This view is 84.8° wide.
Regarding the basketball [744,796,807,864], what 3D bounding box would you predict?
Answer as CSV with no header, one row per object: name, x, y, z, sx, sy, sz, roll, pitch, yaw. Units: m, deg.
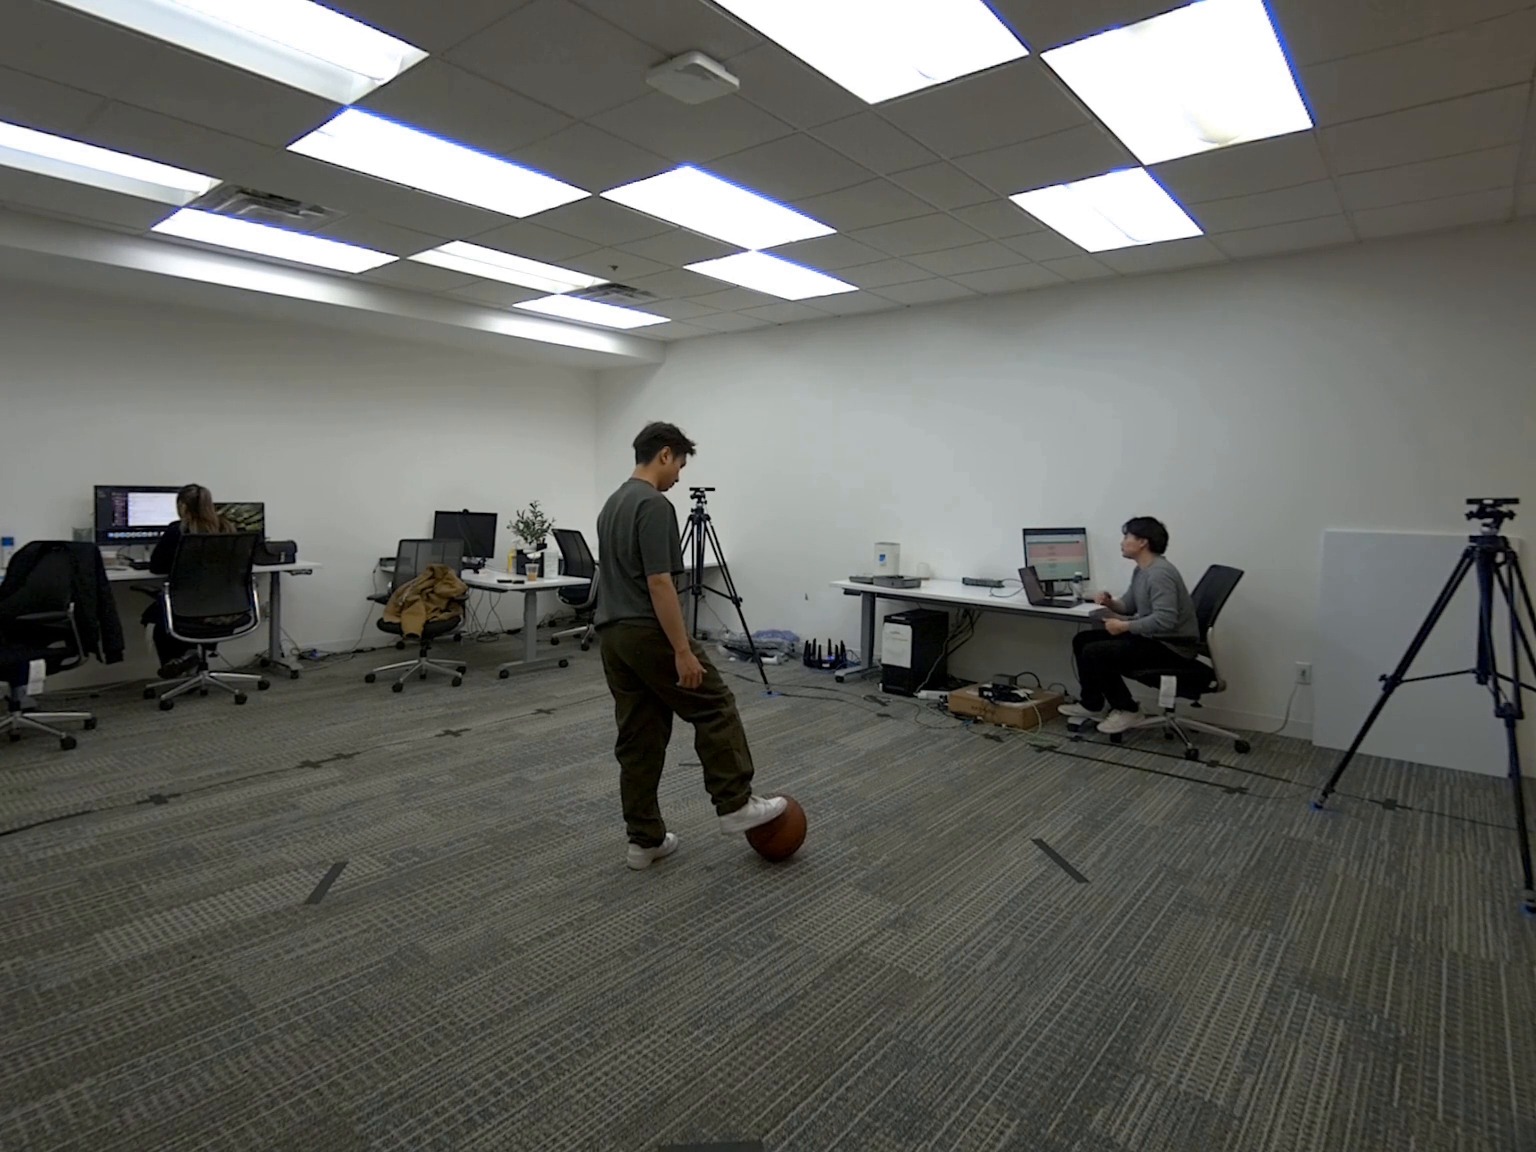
basketball,0.017,0.947,3.224,0.235,0.235,0.237,1,4,-2
